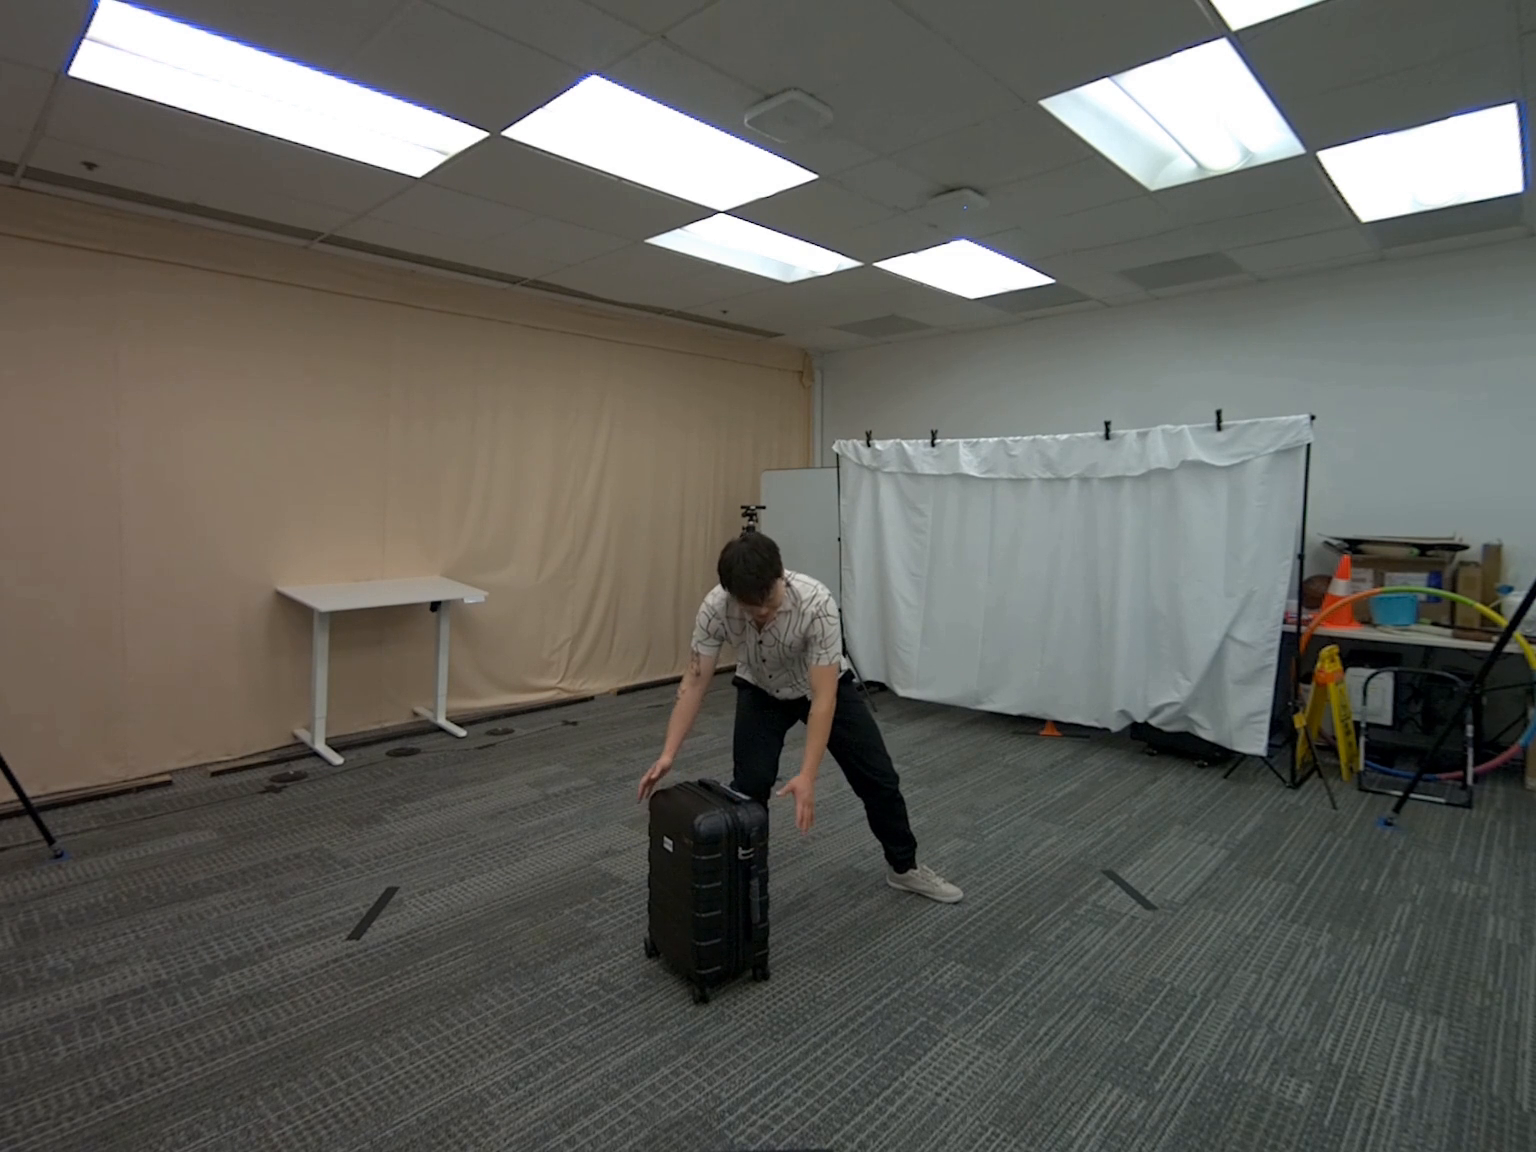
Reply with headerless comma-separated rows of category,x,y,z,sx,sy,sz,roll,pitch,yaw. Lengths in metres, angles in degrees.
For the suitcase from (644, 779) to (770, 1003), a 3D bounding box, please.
suitcase,-0.177,0.912,2.503,0.241,0.548,0.387,-2,6,-33
